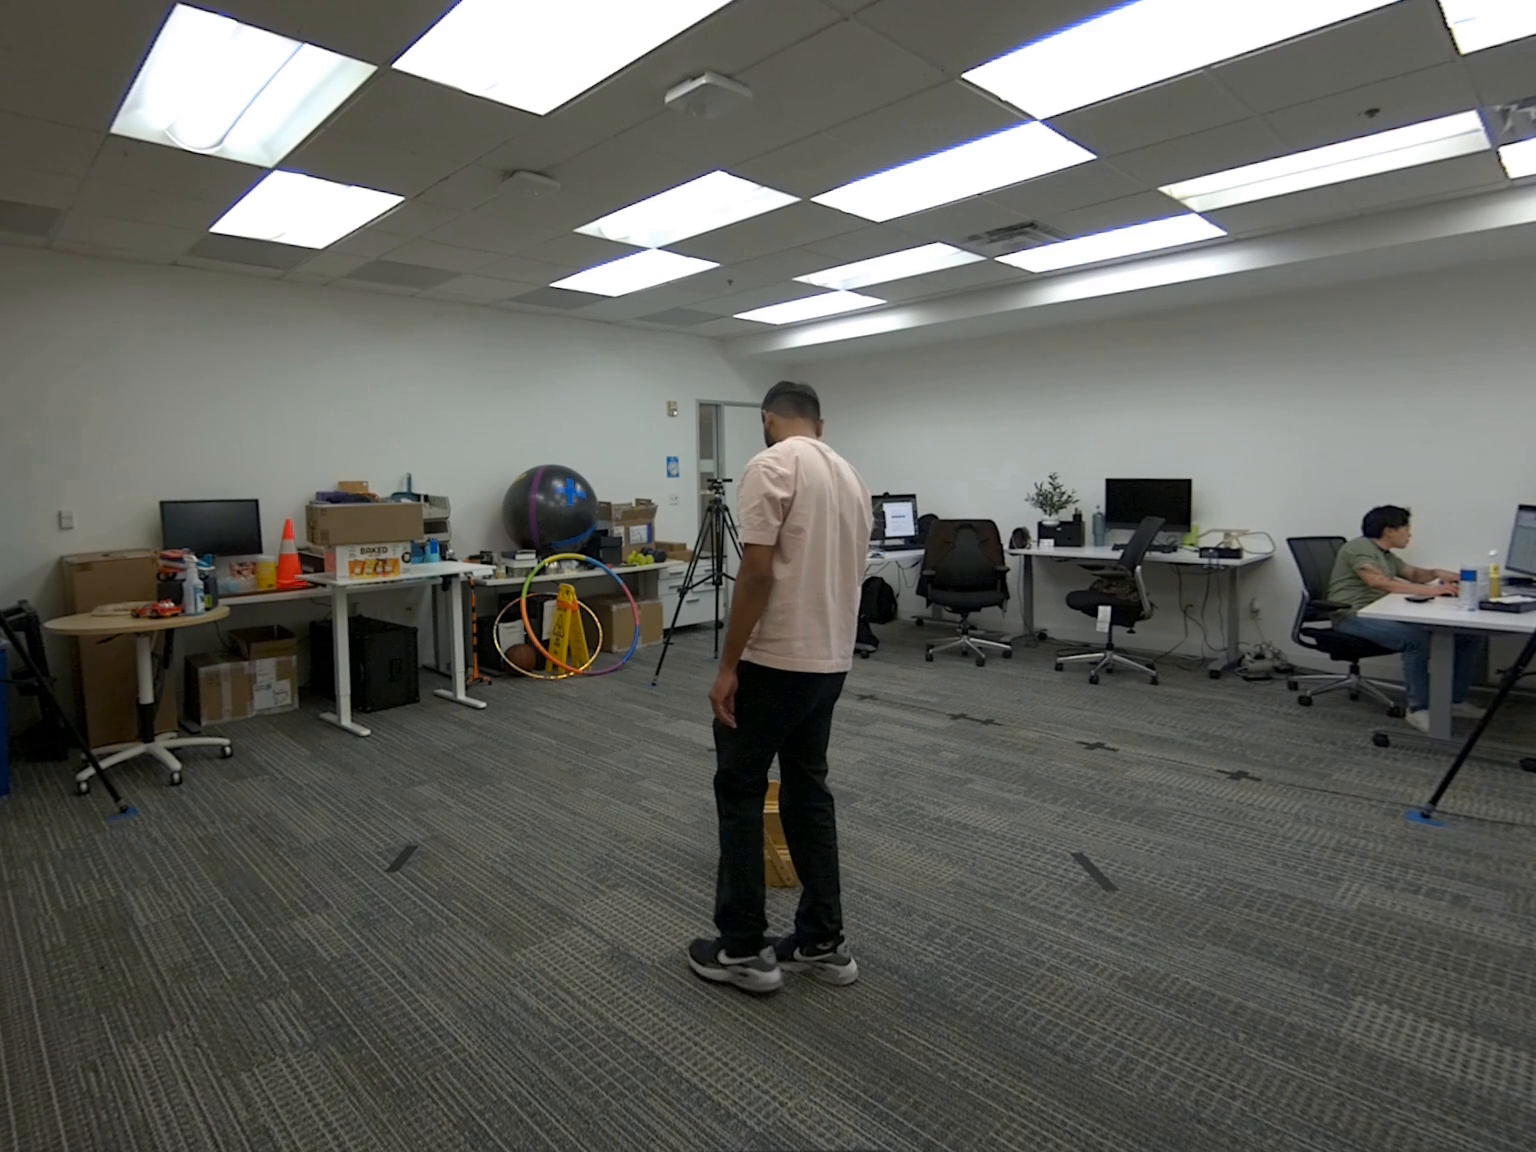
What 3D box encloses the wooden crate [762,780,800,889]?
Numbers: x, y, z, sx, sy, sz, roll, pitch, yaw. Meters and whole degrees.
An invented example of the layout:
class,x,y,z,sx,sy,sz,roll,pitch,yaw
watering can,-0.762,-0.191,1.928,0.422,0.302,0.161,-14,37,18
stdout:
class,x,y,z,sx,sy,sz,roll,pitch,yaw
wooden crate,0.060,0.920,3.072,0.302,0.272,0.325,0,4,0
